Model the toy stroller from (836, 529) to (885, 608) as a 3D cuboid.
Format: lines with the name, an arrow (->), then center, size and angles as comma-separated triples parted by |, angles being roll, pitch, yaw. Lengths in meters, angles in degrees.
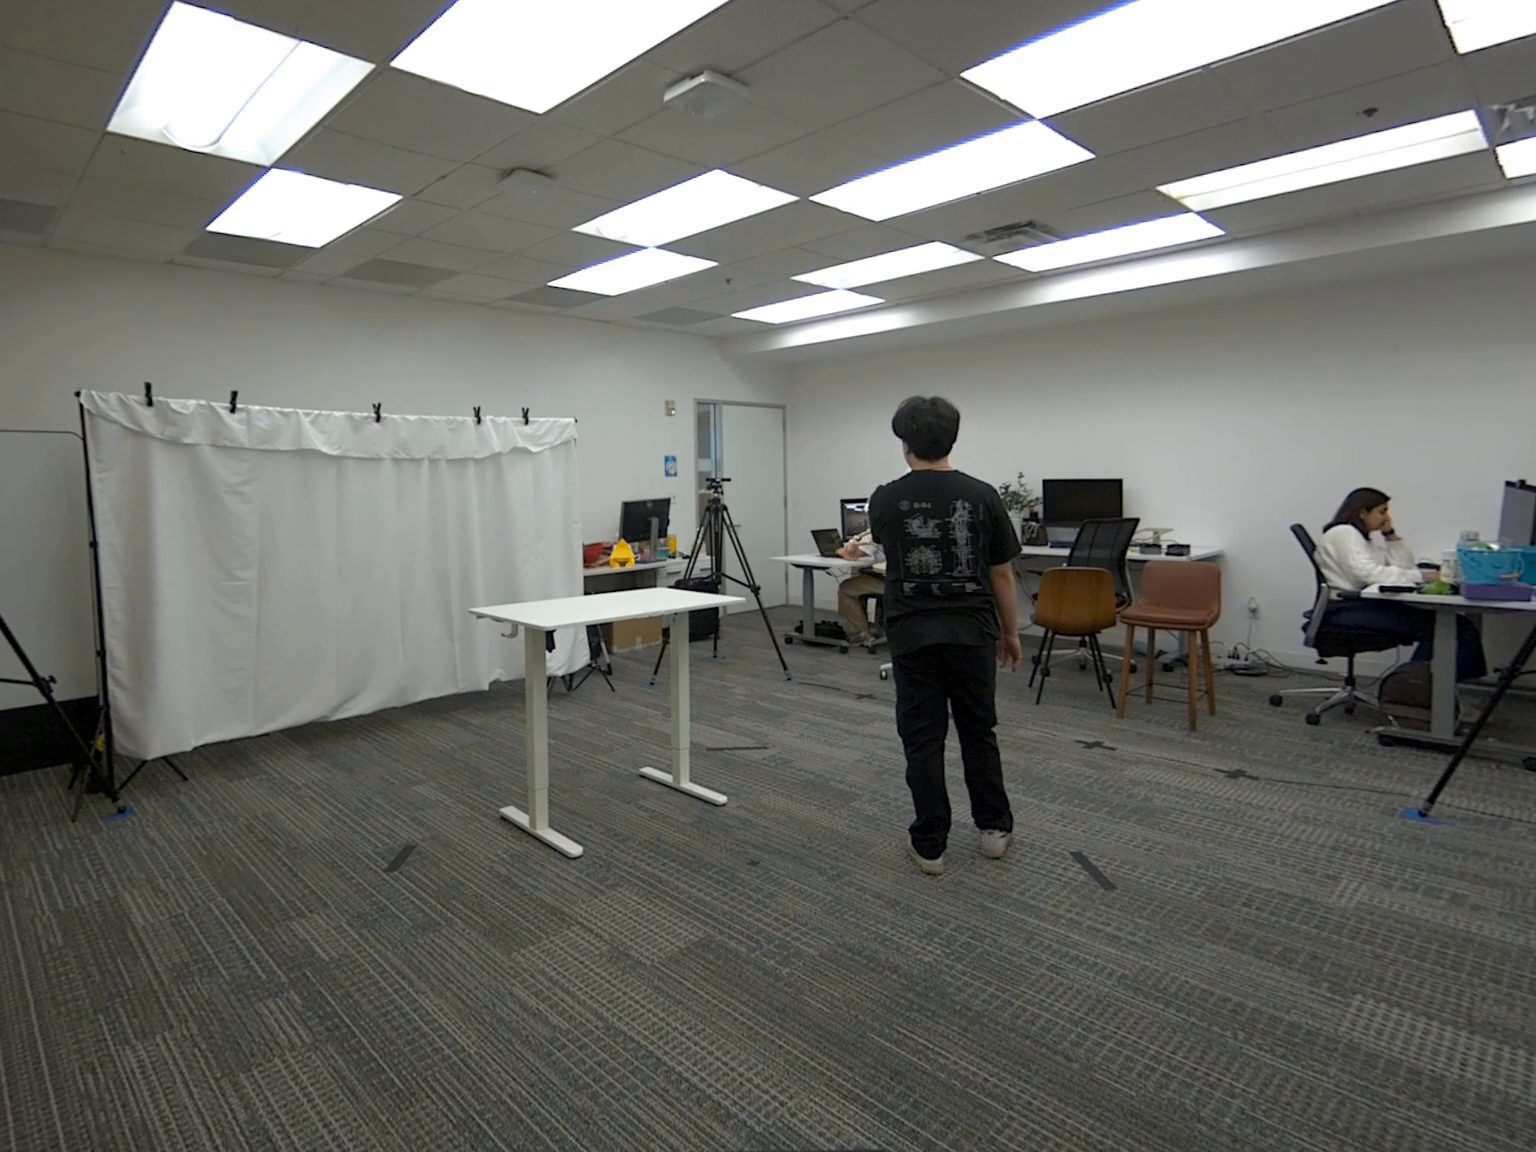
toy stroller -> 0.574, -0.247, 3.670 | 0.349, 0.528, 0.279 | 31, 29, 16
